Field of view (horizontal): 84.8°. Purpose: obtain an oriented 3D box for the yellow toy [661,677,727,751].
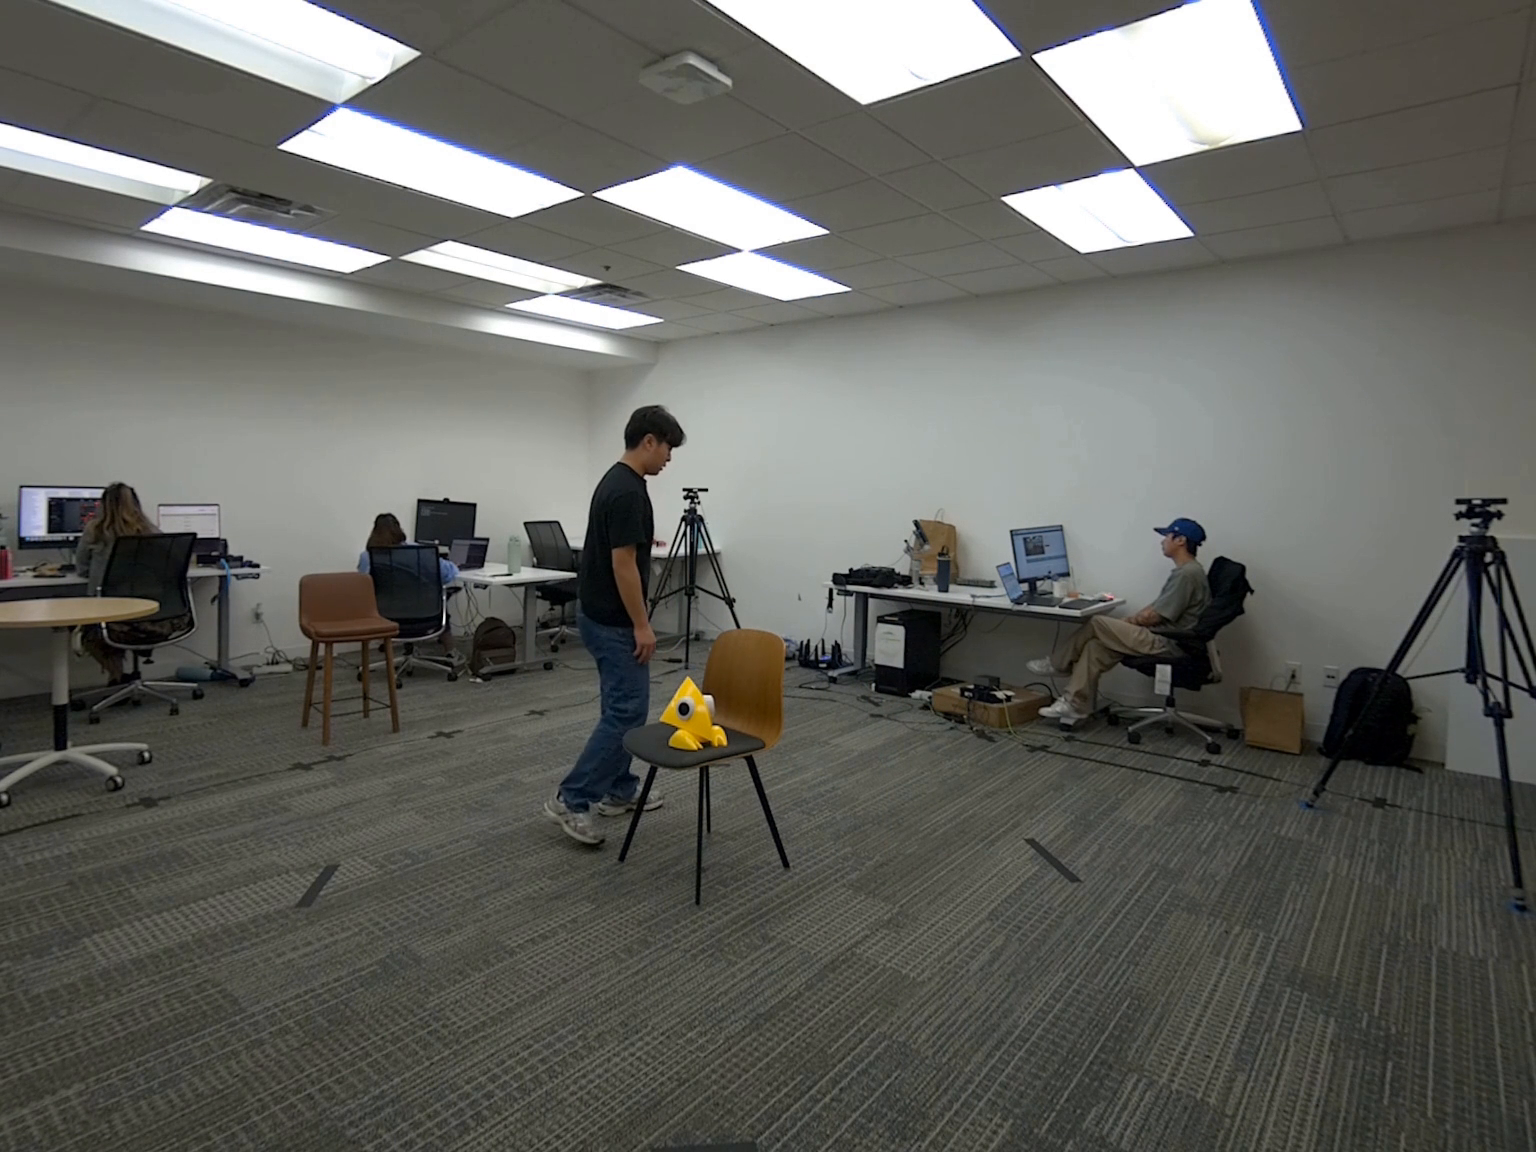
[{"bbox_3d":[-0.265,0.482,3.041,0.198,0.231,0.199,2,-2,-38],"label":"yellow toy"}]
